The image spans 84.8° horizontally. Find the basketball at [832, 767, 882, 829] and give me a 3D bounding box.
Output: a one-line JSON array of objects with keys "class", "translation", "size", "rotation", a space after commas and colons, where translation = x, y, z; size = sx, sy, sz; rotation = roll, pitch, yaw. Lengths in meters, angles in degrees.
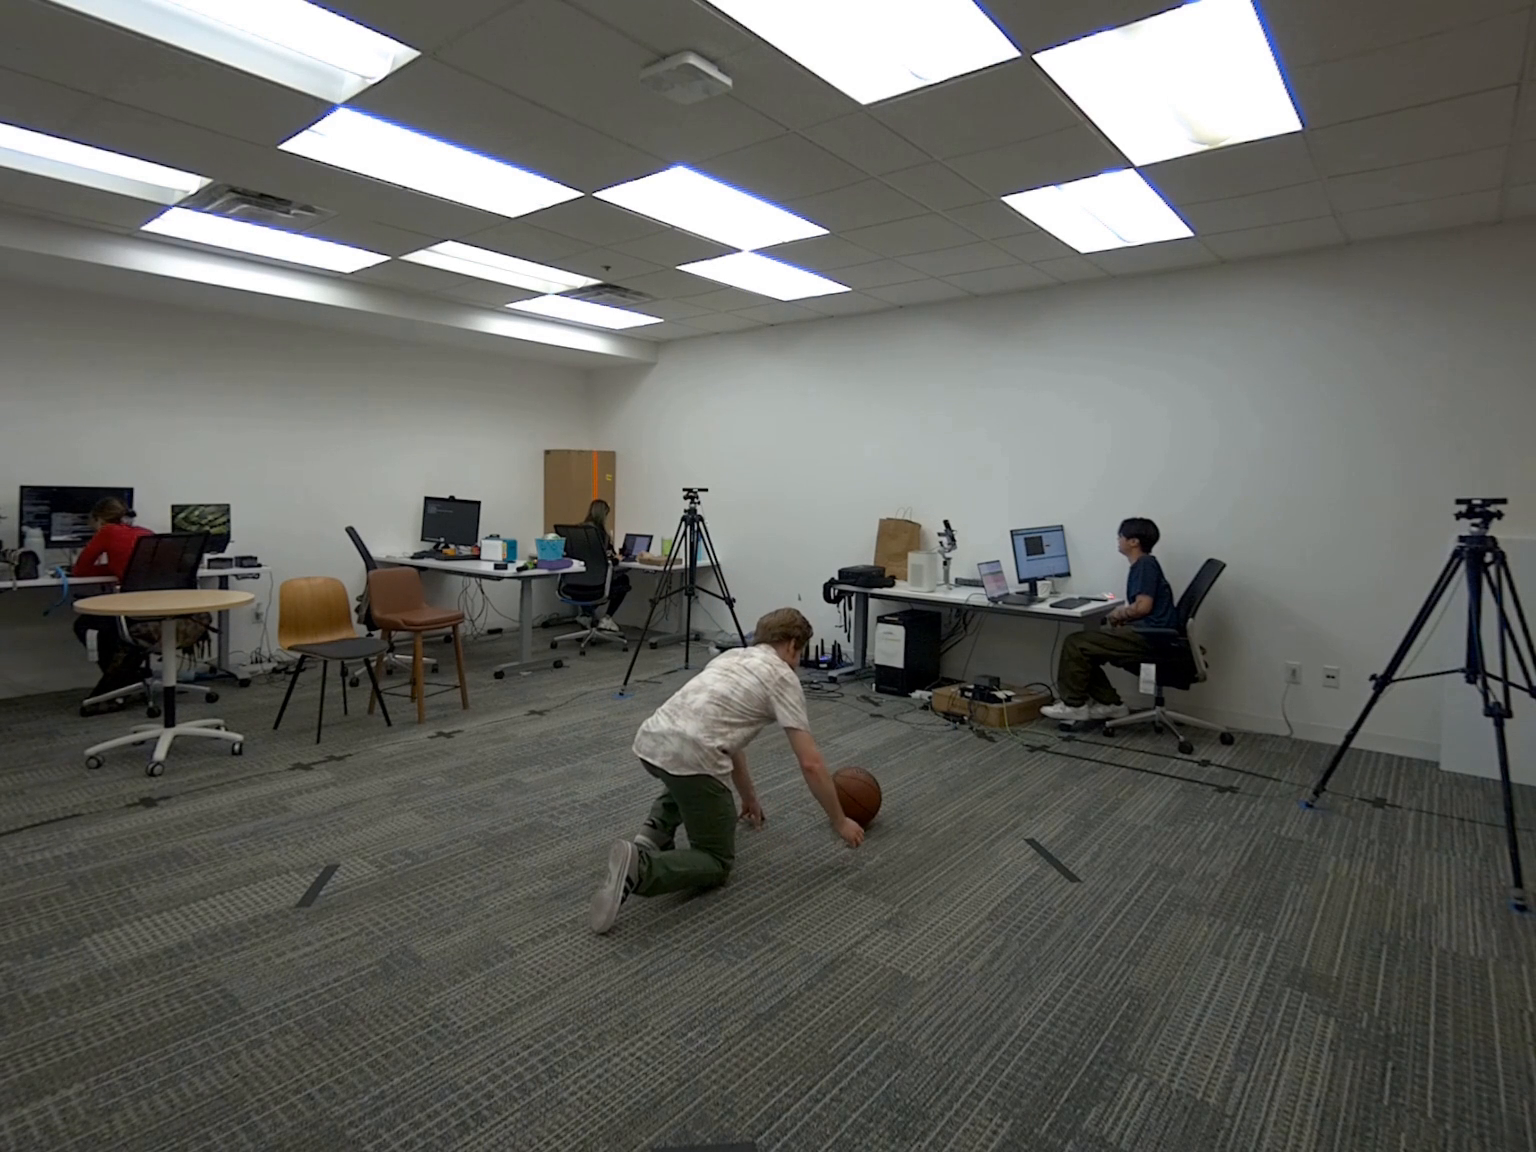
[{"class": "basketball", "translation": [0.350, 0.915, 3.567], "size": [0.235, 0.235, 0.237], "rotation": [1, 4, -2]}]
